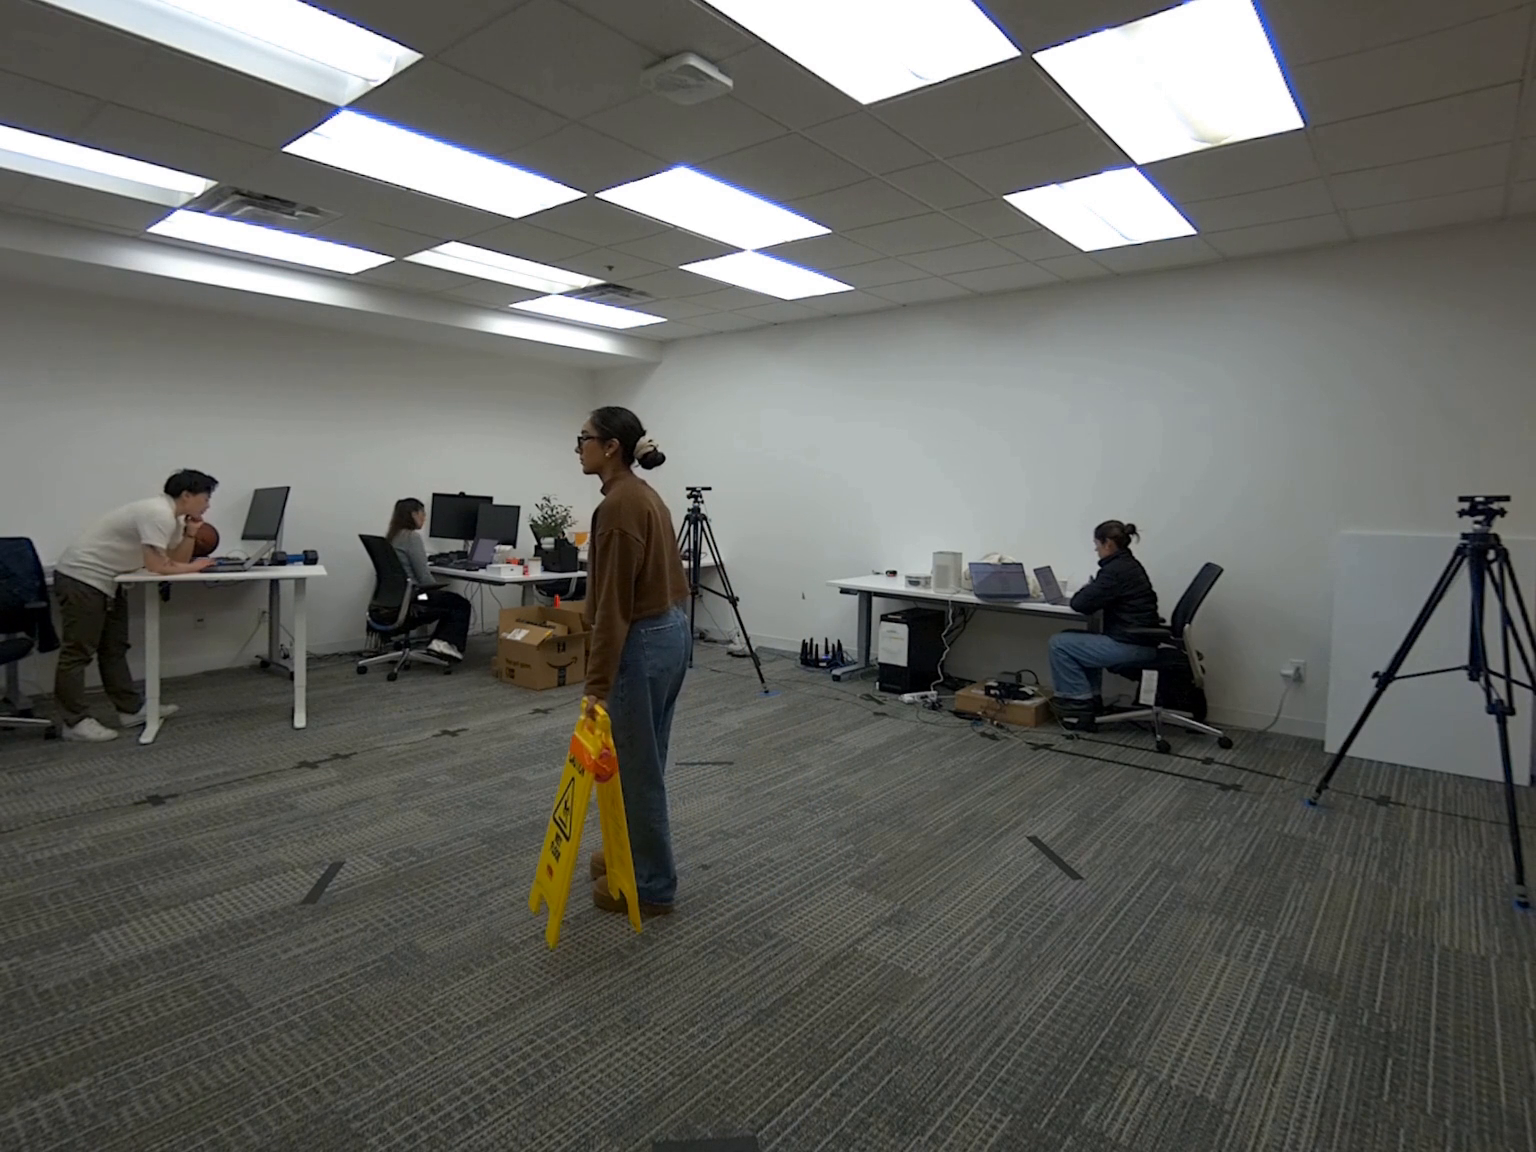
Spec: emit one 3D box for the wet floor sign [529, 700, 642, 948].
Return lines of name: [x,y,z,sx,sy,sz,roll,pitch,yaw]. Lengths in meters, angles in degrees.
wet floor sign: [-0.532,0.694,2.517,0.282,0.644,0.291,3,4,-29]
